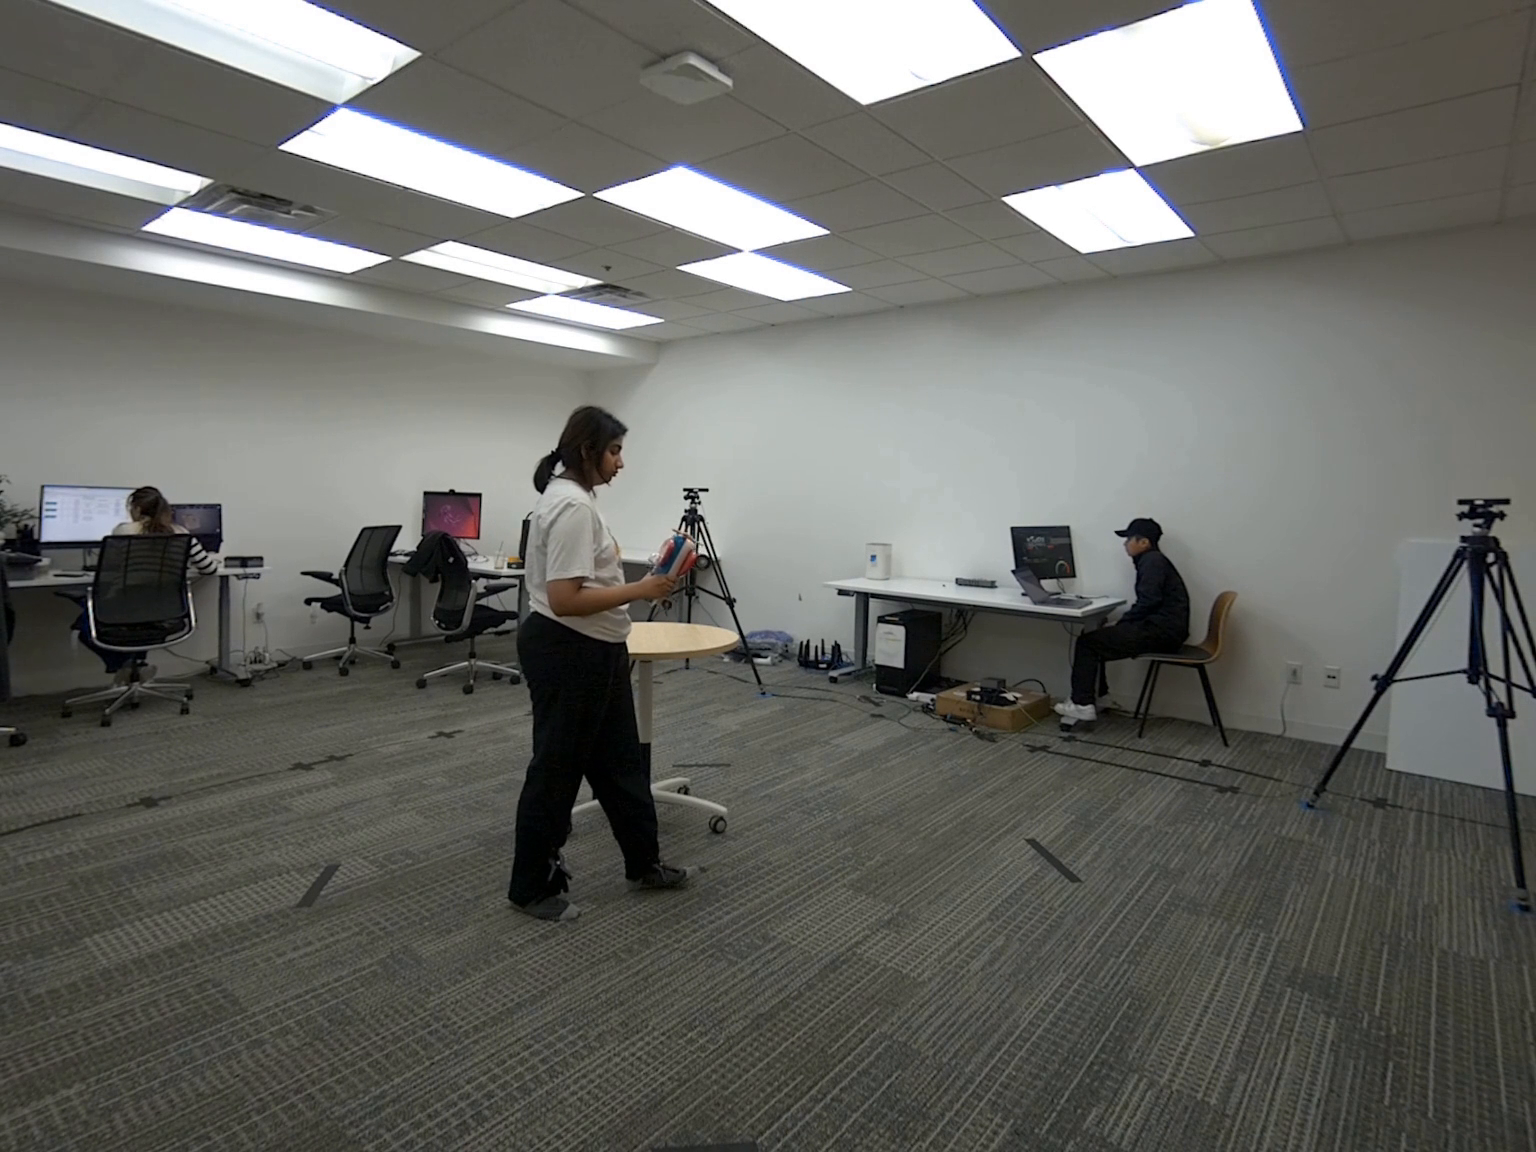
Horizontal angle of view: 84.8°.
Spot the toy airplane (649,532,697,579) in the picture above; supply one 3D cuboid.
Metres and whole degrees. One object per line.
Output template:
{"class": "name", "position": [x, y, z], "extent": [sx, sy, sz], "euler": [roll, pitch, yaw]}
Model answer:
{"class": "toy airplane", "position": [-0.312, -0.021, 2.736], "extent": [0.154, 0.260, 0.253], "euler": [41, -33, -10]}
